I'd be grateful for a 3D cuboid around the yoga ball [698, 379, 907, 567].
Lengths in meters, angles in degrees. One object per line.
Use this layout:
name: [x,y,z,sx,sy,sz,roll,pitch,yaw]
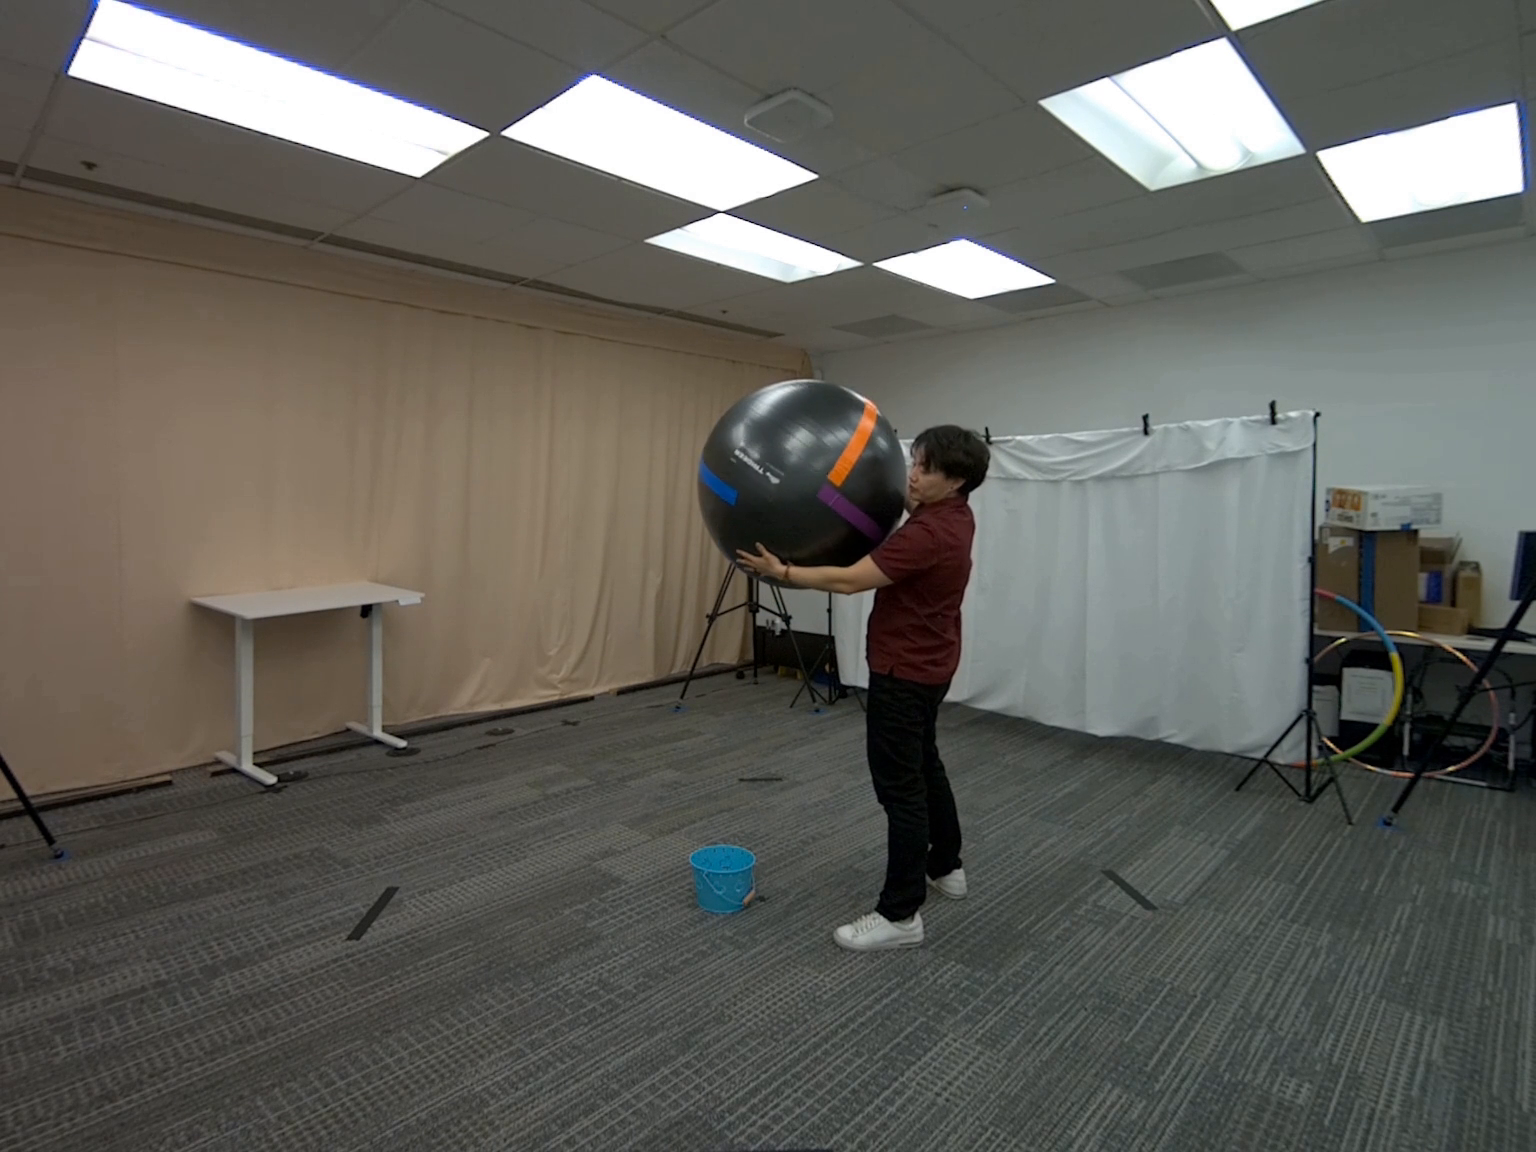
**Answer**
yoga ball: [0.128,-0.330,3.072,0.757,0.756,0.760,0,4,-2]
